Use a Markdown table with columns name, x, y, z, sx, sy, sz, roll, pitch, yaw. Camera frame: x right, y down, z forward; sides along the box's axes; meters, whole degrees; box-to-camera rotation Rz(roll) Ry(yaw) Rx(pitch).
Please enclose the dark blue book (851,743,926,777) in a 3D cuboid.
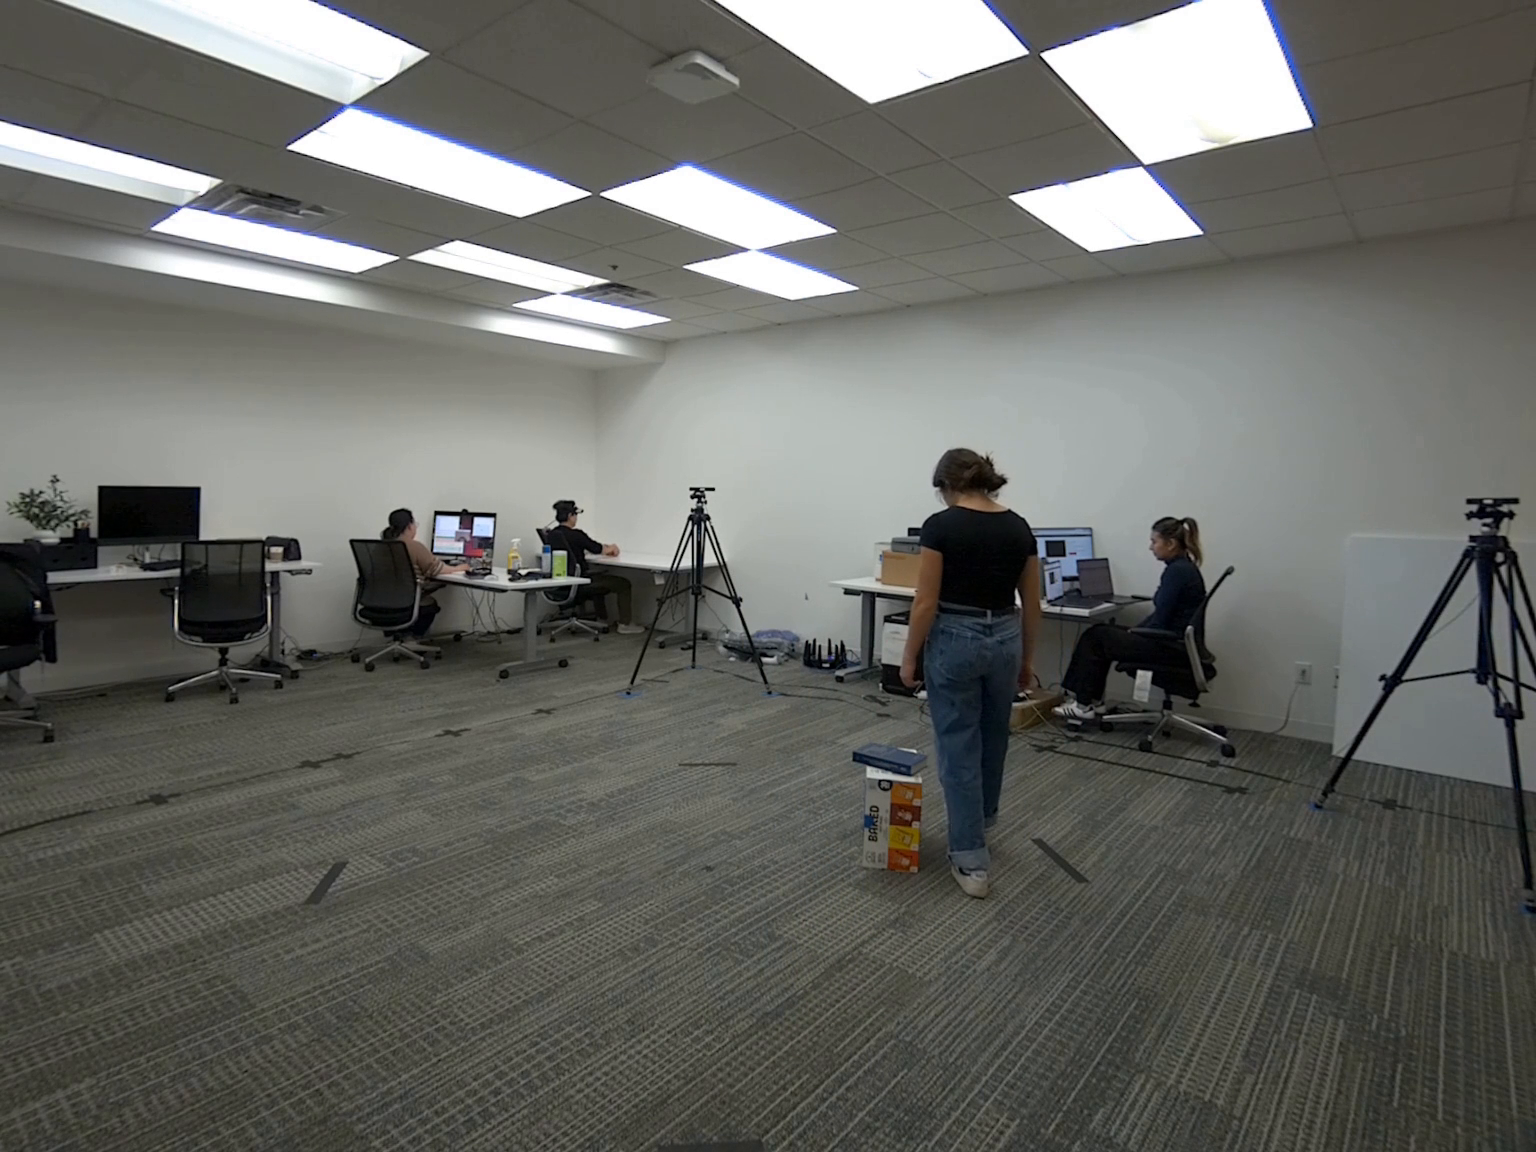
| name | x | y | z | sx | sy | sz | roll | pitch | yaw |
| --- | --- | --- | --- | --- | --- | --- | --- | --- | --- |
| dark blue book | 0.470 | 0.704 | 3.295 | 0.253 | 0.045 | 0.159 | 7 | 7 | 34 |
